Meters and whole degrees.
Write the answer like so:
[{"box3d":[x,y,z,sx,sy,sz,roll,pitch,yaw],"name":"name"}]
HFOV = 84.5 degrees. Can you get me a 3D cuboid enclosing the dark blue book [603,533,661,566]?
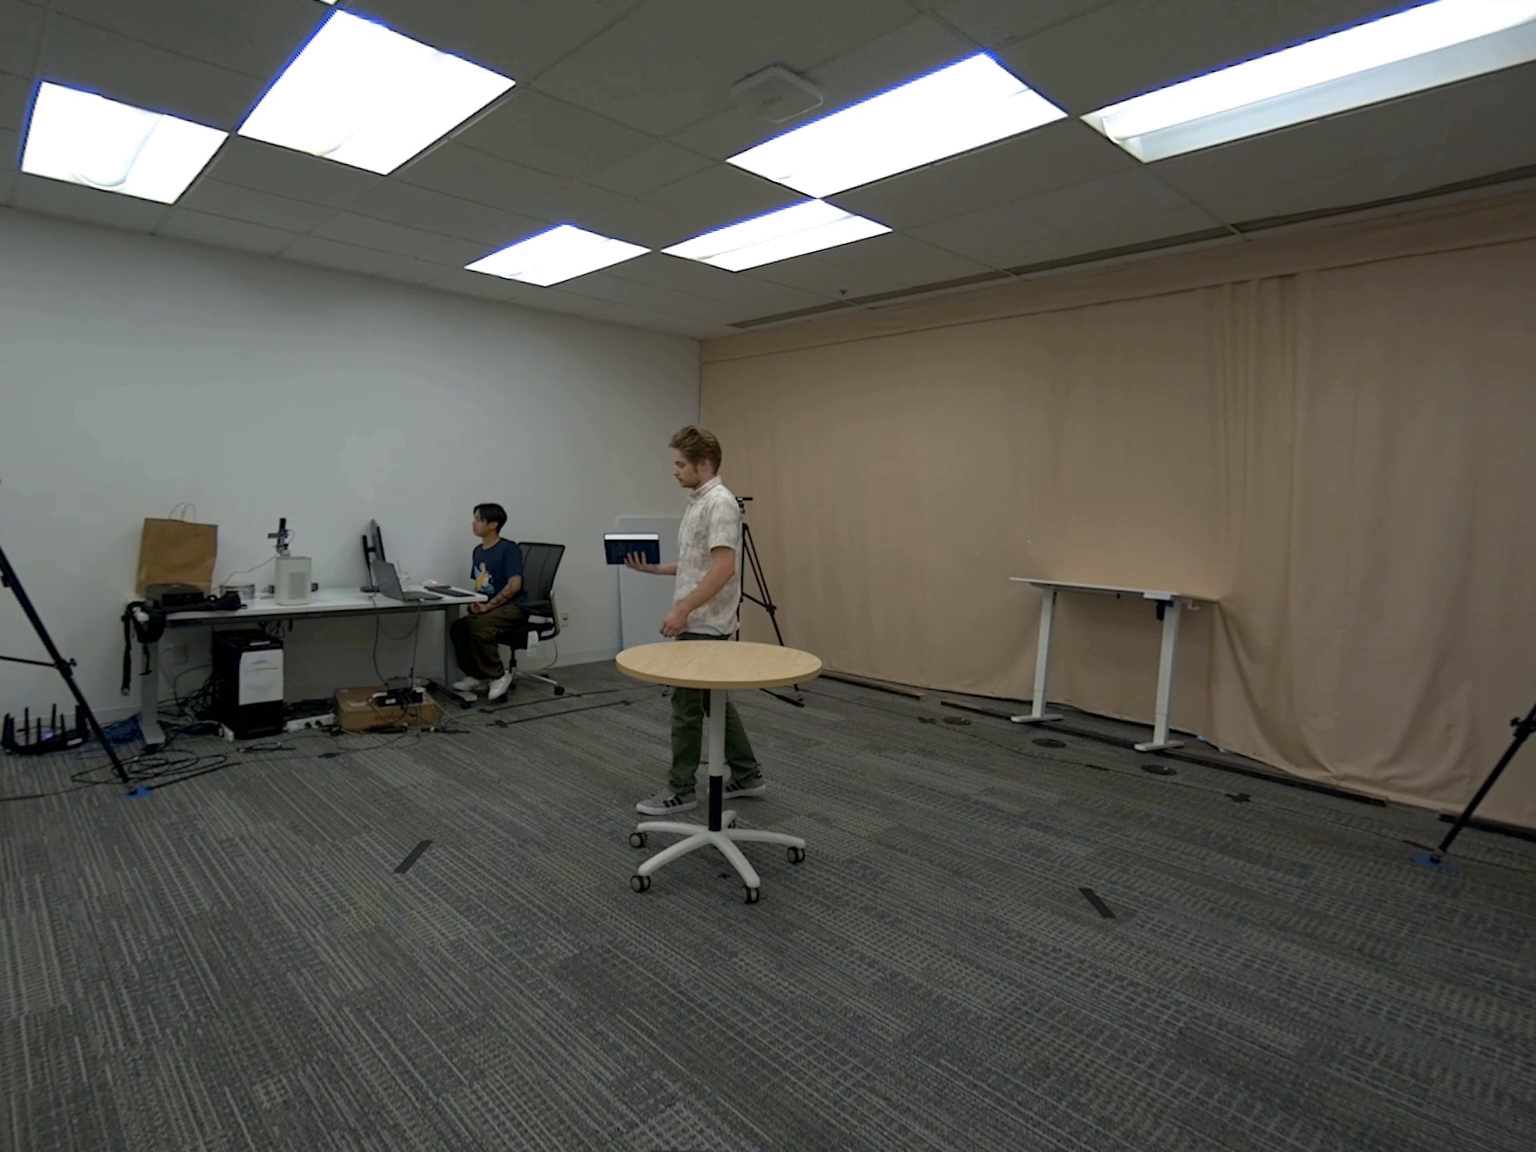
[{"box3d":[-0.619,-0.121,3.804,0.245,0.160,0.046,1,43,-1],"name":"dark blue book"}]
